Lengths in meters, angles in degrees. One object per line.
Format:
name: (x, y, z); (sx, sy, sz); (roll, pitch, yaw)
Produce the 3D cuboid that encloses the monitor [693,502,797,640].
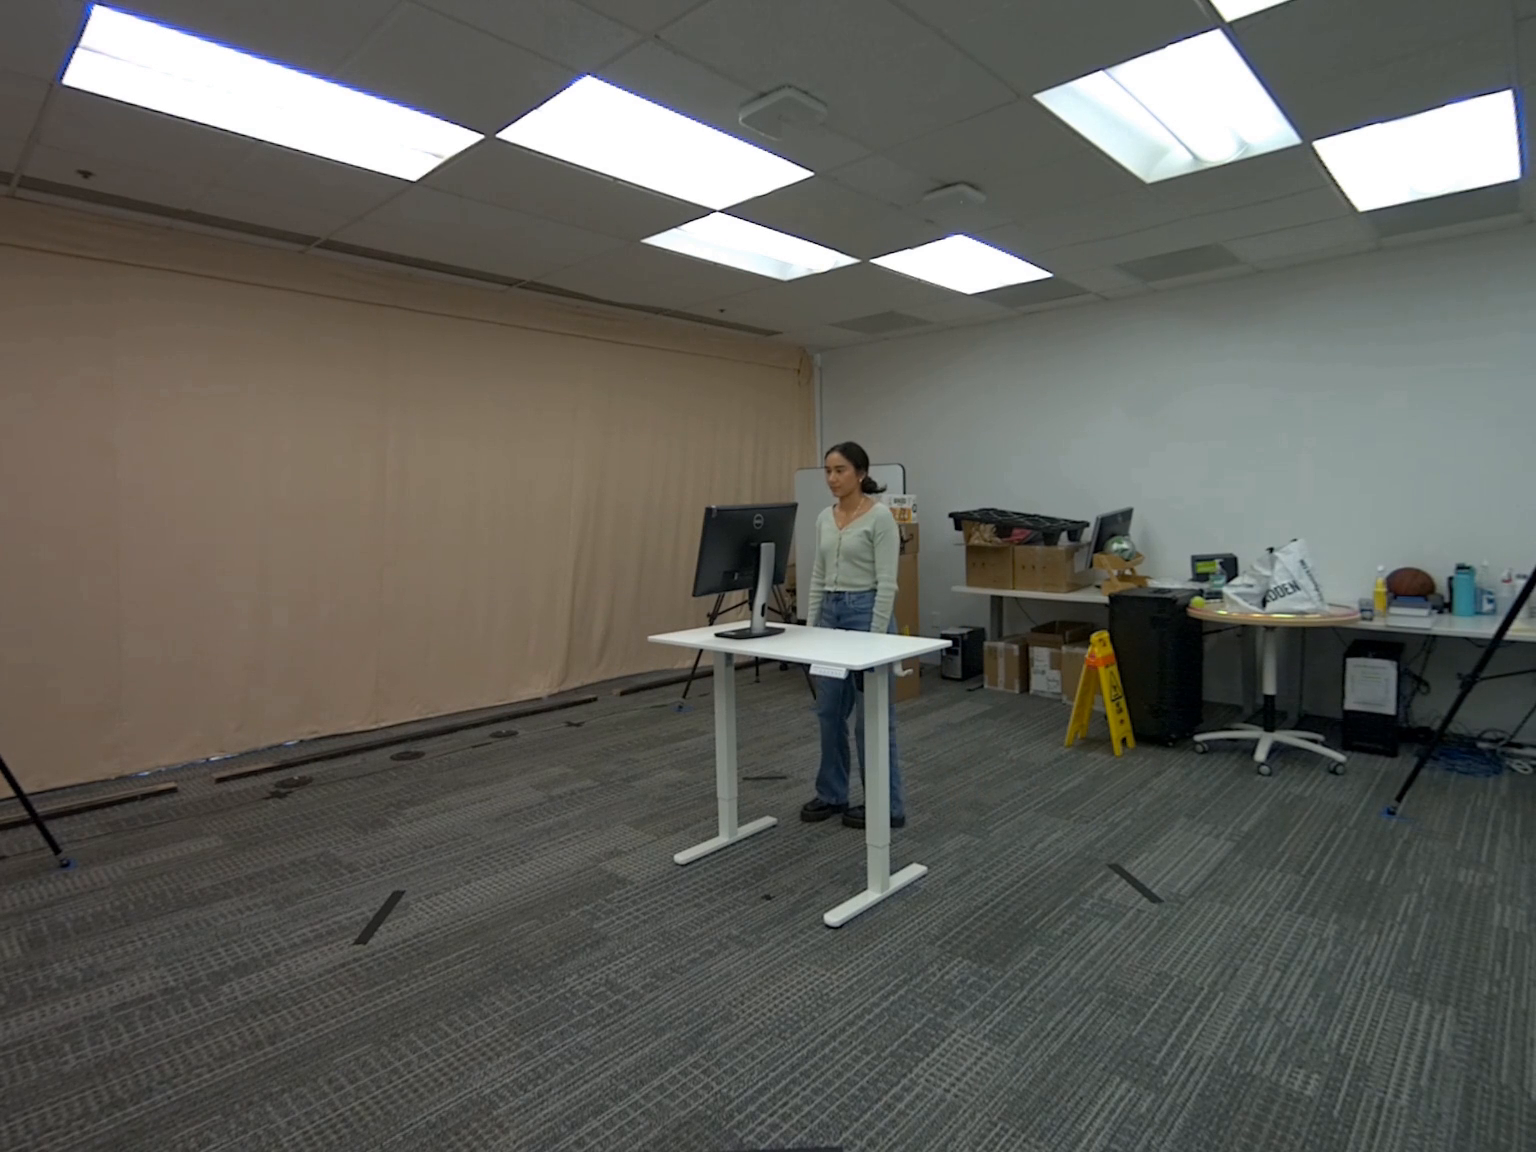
monitor: (-0.058, -0.025, 3.310); (0.180, 0.515, 0.514); (-1, 4, 41)
